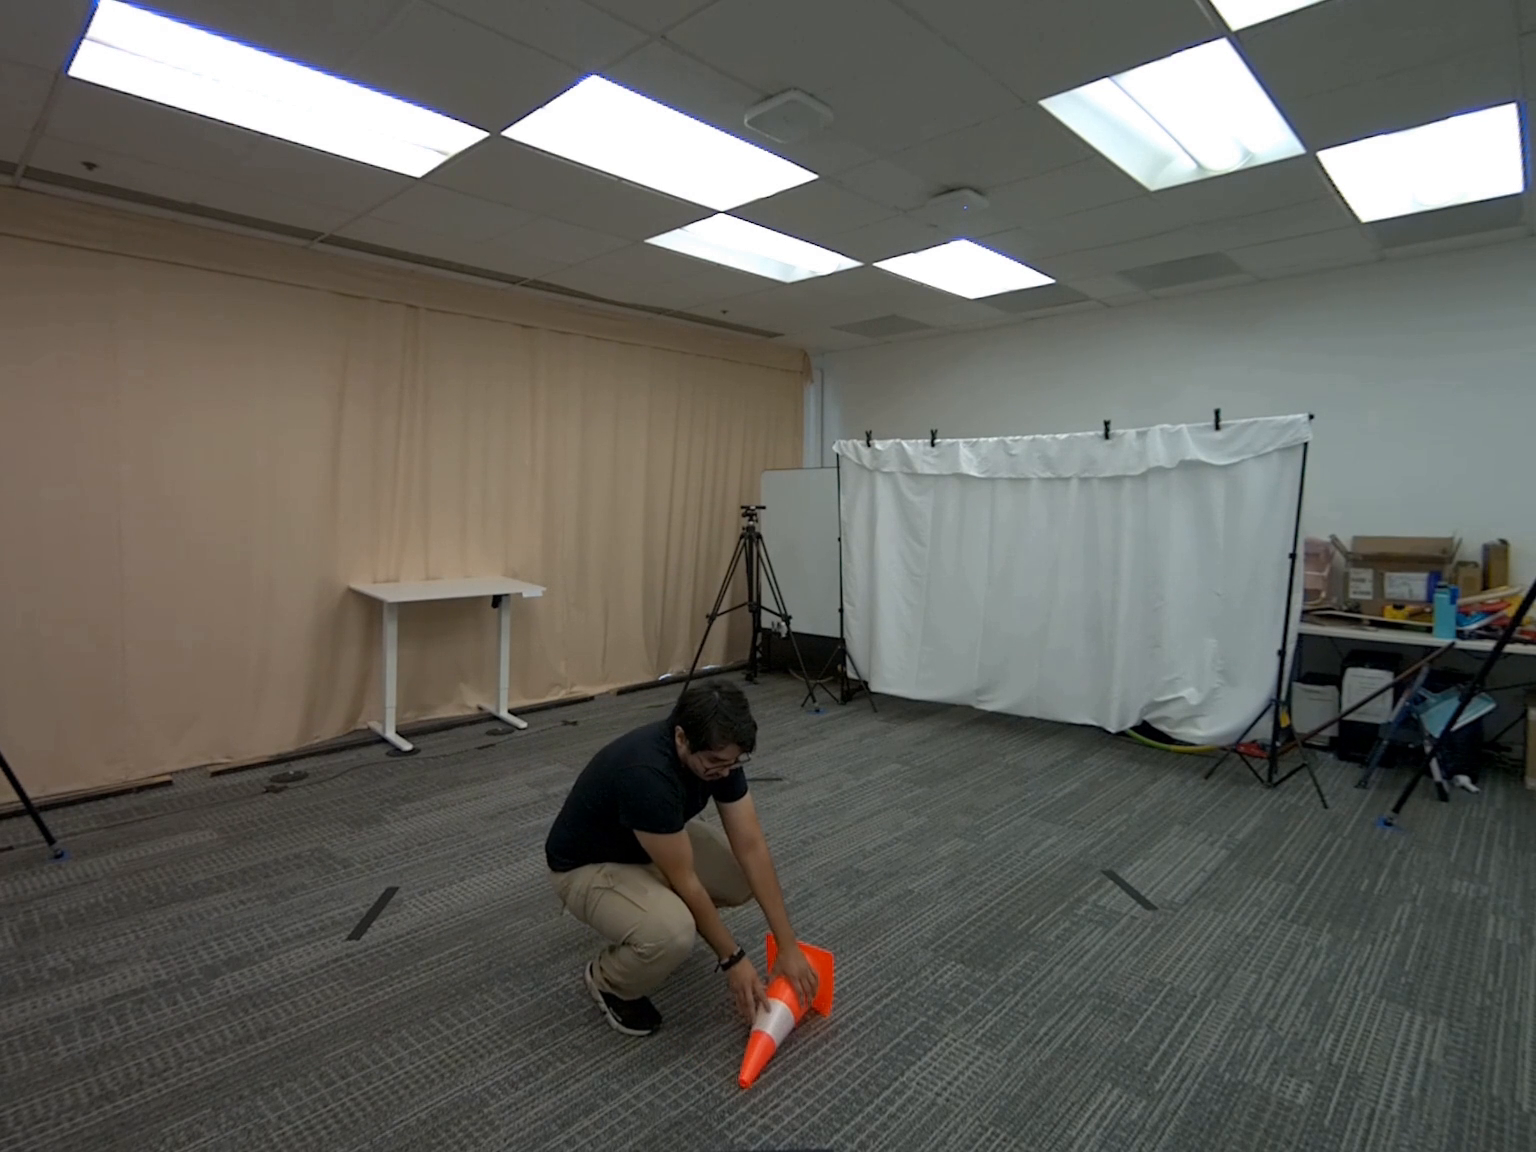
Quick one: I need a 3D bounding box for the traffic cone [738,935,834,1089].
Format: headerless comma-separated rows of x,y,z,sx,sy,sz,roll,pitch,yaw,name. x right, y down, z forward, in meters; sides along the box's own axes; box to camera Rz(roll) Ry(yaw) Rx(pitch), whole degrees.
0.010,1.159,2.160,0.209,0.202,0.378,6,20,25,traffic cone
